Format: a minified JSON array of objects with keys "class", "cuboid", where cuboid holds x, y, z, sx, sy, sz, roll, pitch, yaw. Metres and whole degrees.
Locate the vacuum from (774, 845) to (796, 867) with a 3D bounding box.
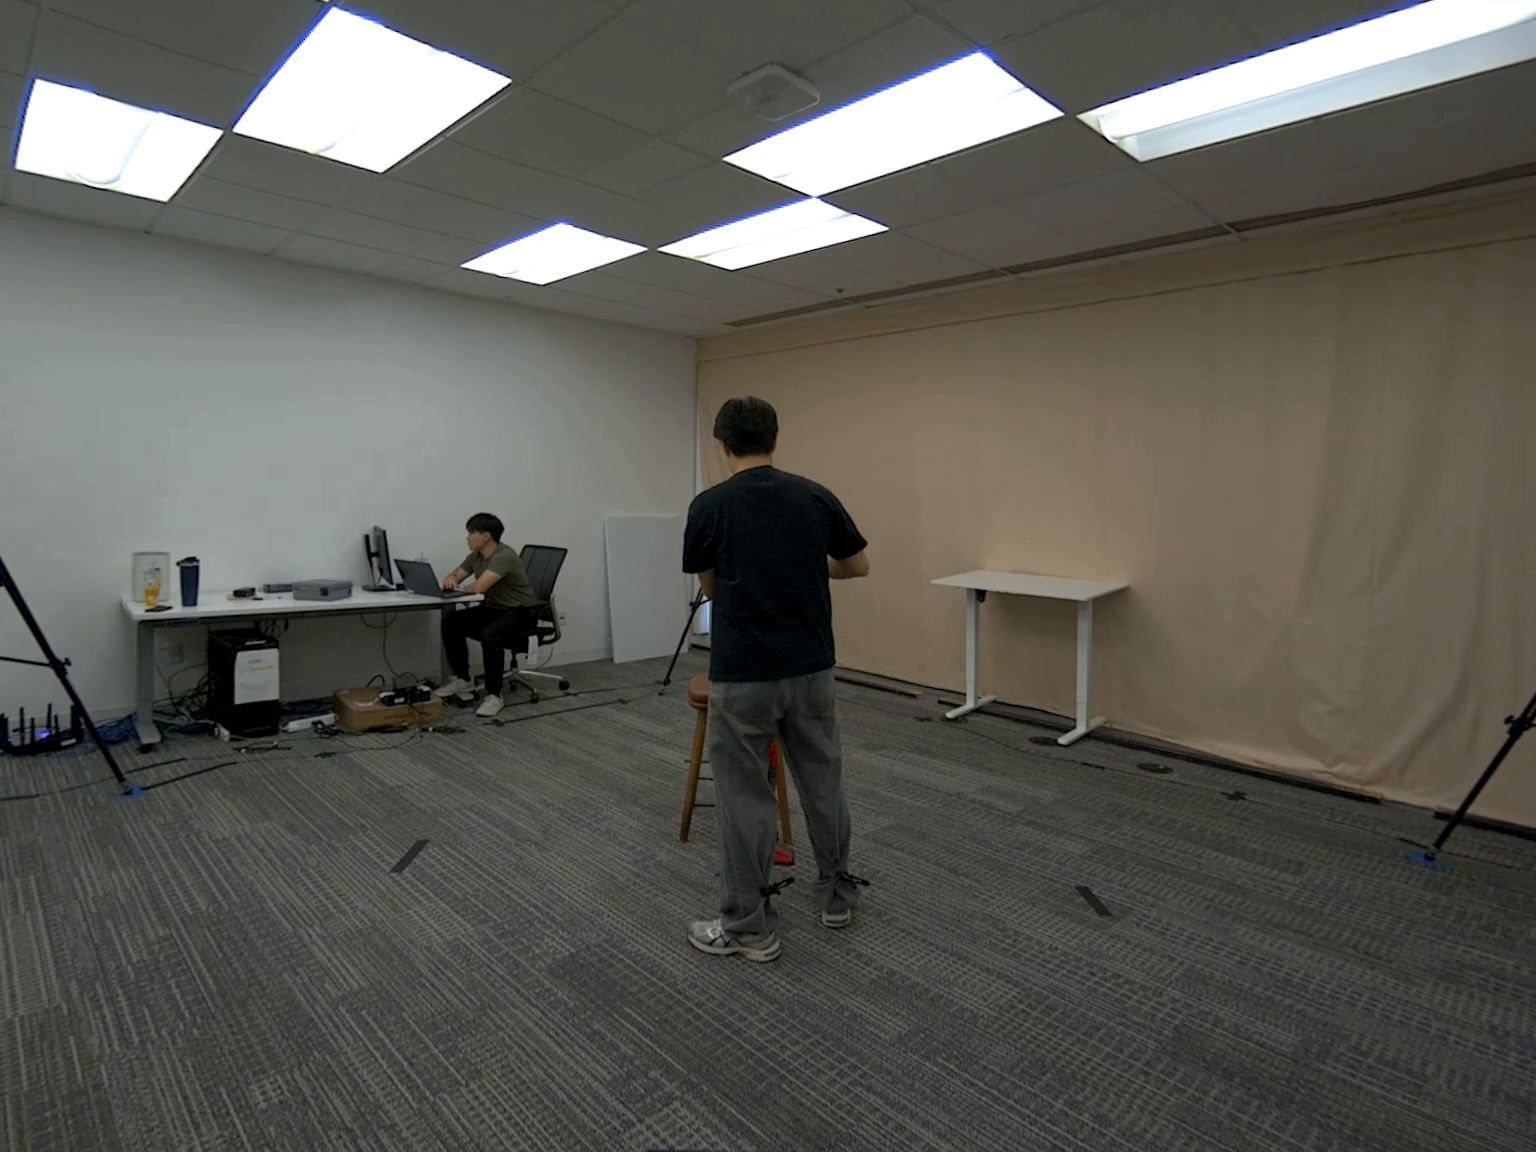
[{"class":"vacuum","cuboid":[-0.005,0.432,3.003,0.257,1.056,0.140,0,-11,24]}]
